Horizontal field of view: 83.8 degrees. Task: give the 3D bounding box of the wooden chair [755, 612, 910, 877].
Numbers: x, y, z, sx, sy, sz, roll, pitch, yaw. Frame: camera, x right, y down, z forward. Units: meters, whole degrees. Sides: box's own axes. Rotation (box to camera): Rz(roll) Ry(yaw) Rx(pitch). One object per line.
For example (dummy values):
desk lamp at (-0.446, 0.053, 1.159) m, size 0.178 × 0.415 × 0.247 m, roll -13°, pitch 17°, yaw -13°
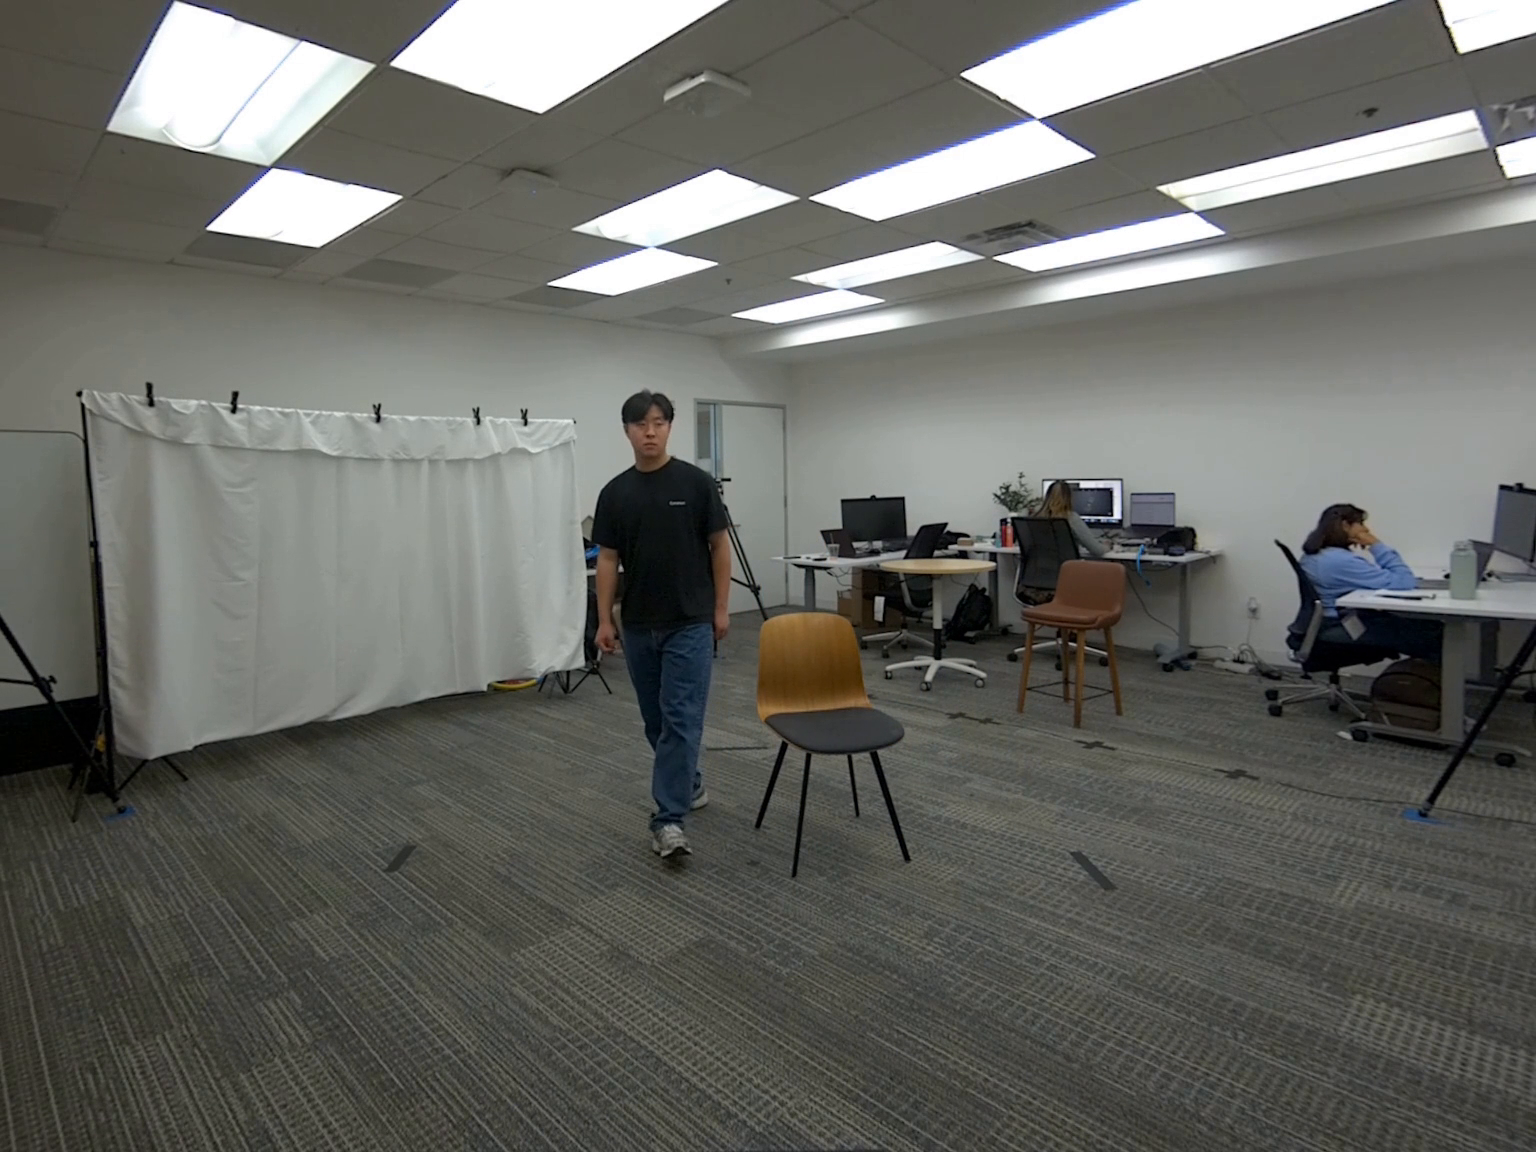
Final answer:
wooden chair at (0.232, 0.599, 3.217) m, size 0.471 × 0.877 × 0.531 m, roll -2°, pitch 0°, yaw -17°
